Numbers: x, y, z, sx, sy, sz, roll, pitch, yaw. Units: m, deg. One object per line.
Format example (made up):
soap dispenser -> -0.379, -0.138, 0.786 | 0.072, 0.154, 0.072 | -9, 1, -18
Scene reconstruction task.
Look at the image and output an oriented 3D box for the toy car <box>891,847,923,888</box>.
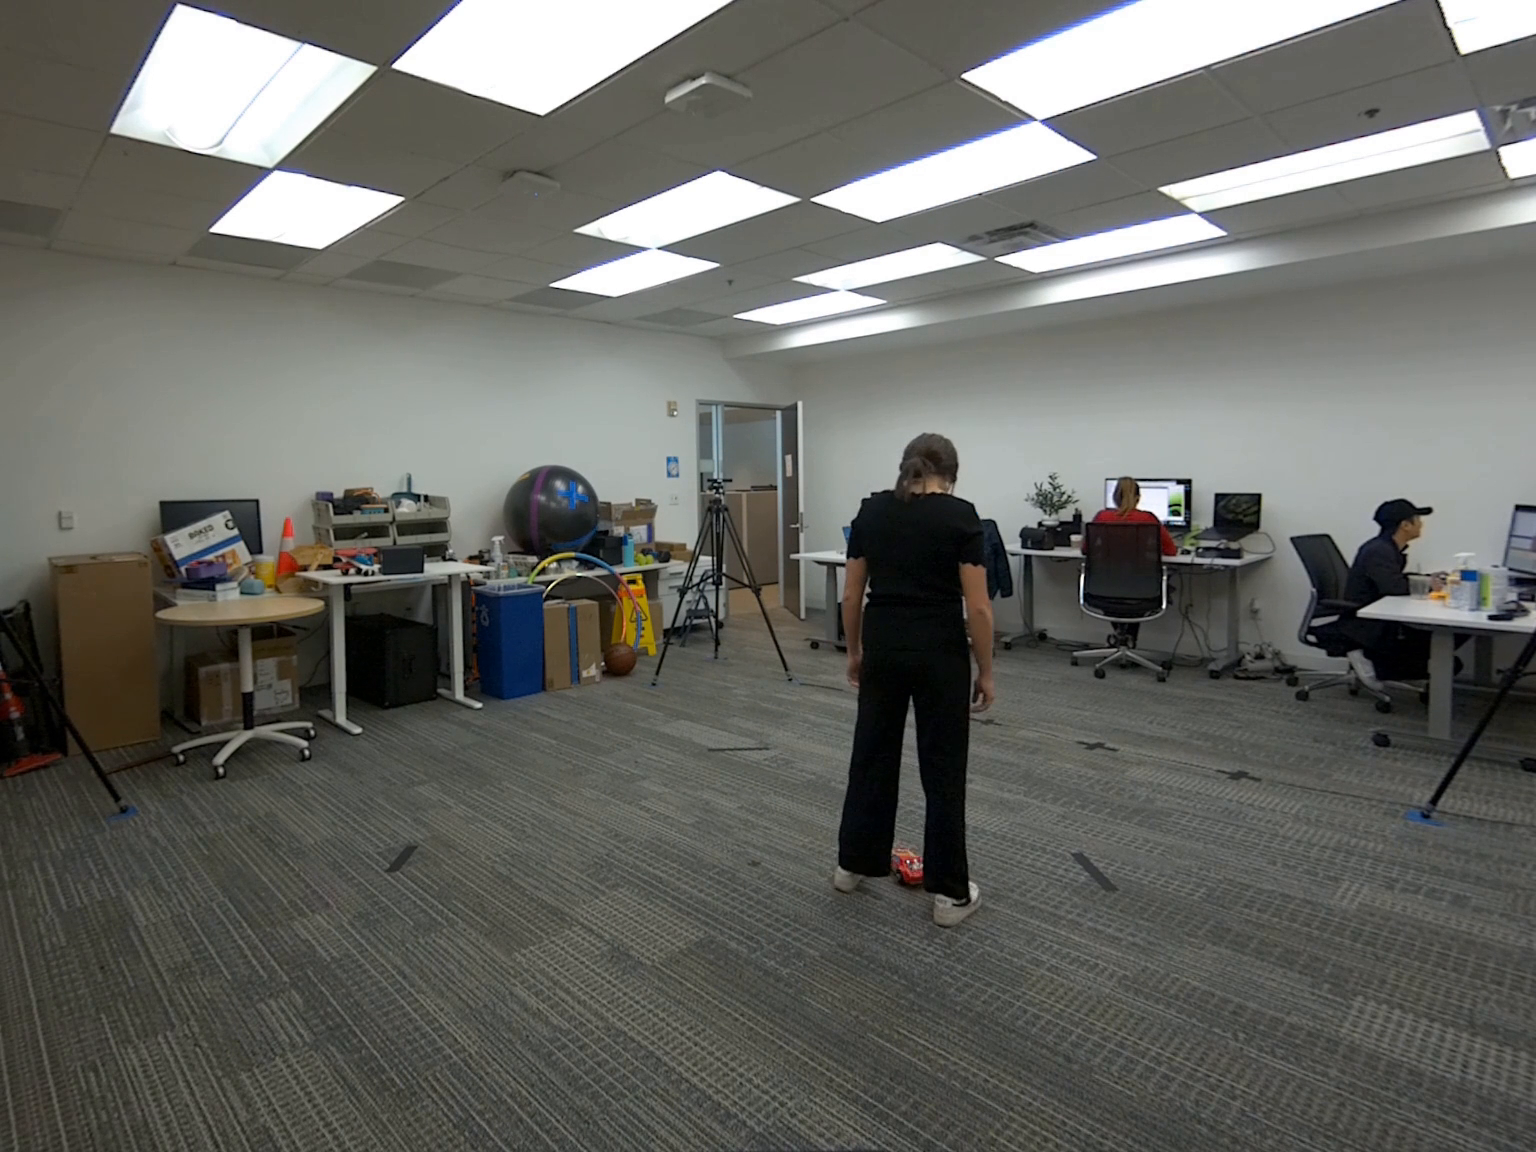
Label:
toy car -> 0.489, 1.017, 2.989 | 0.128, 0.083, 0.257 | -3, -4, -17
